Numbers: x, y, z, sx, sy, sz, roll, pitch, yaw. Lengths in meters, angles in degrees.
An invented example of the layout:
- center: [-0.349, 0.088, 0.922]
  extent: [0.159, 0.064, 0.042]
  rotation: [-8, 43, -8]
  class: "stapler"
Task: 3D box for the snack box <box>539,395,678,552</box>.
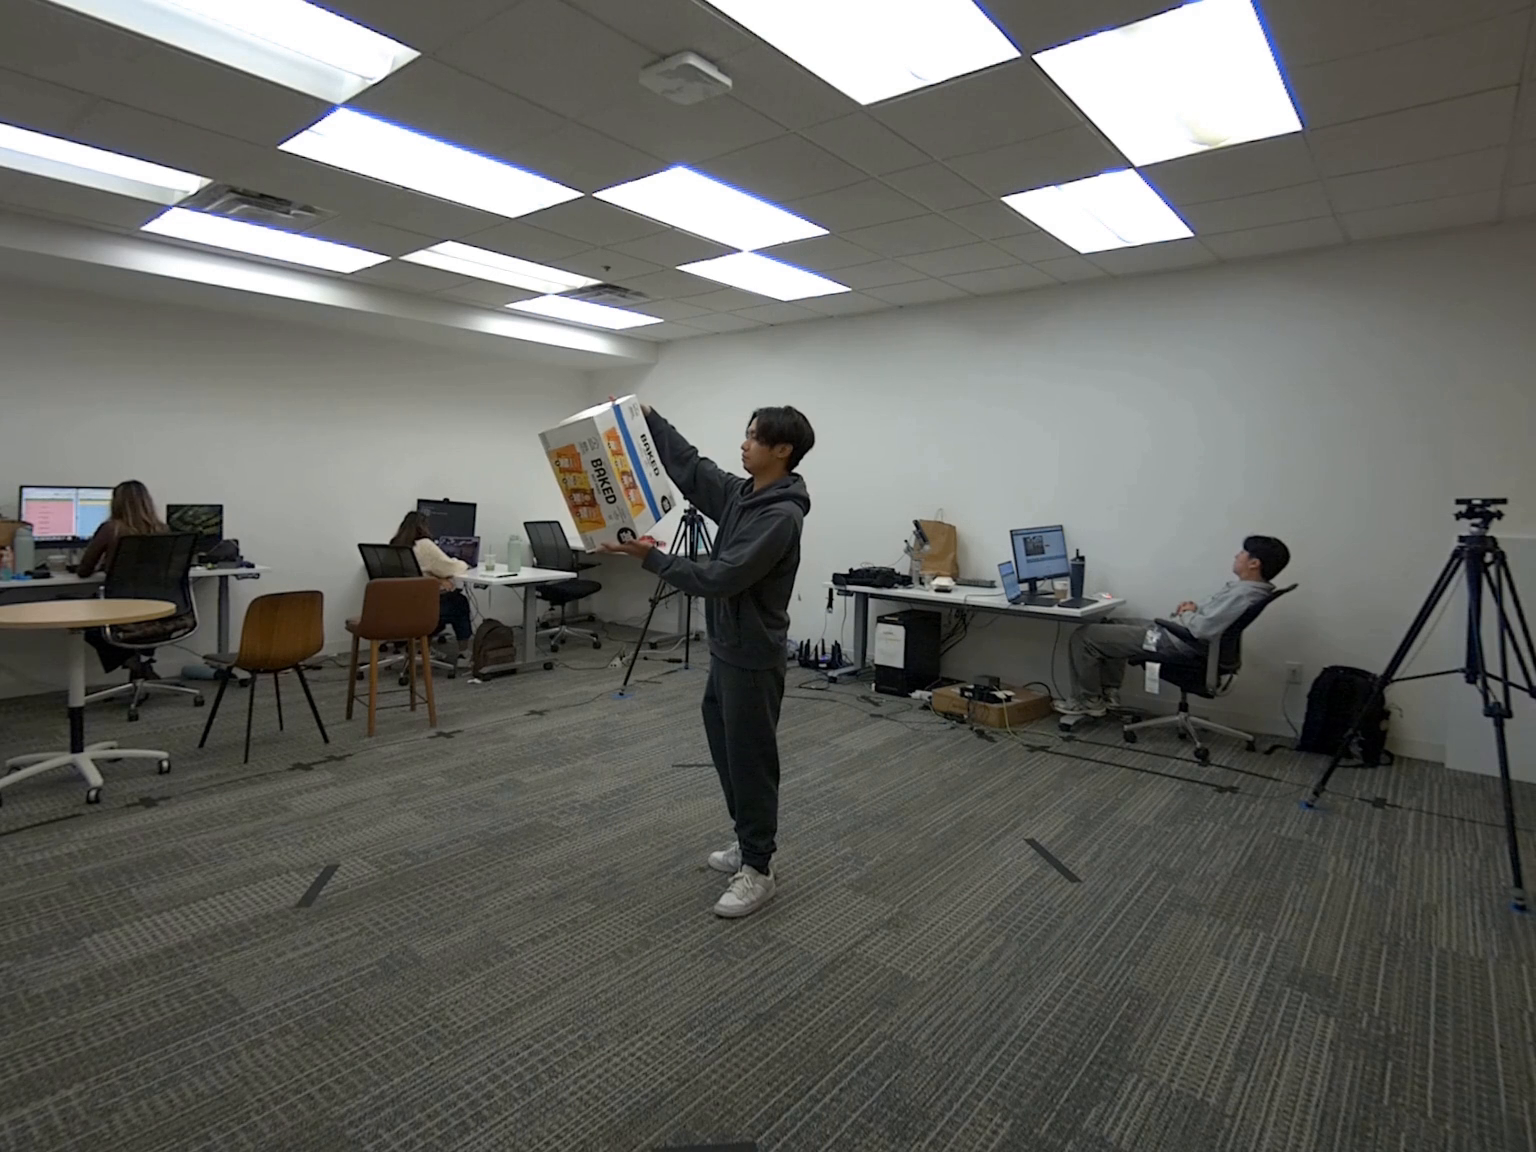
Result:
- center: [-0.523, -0.345, 2.761]
  extent: [0.209, 0.398, 0.341]
  rotation: [-13, 17, 21]
  class: "snack box"
